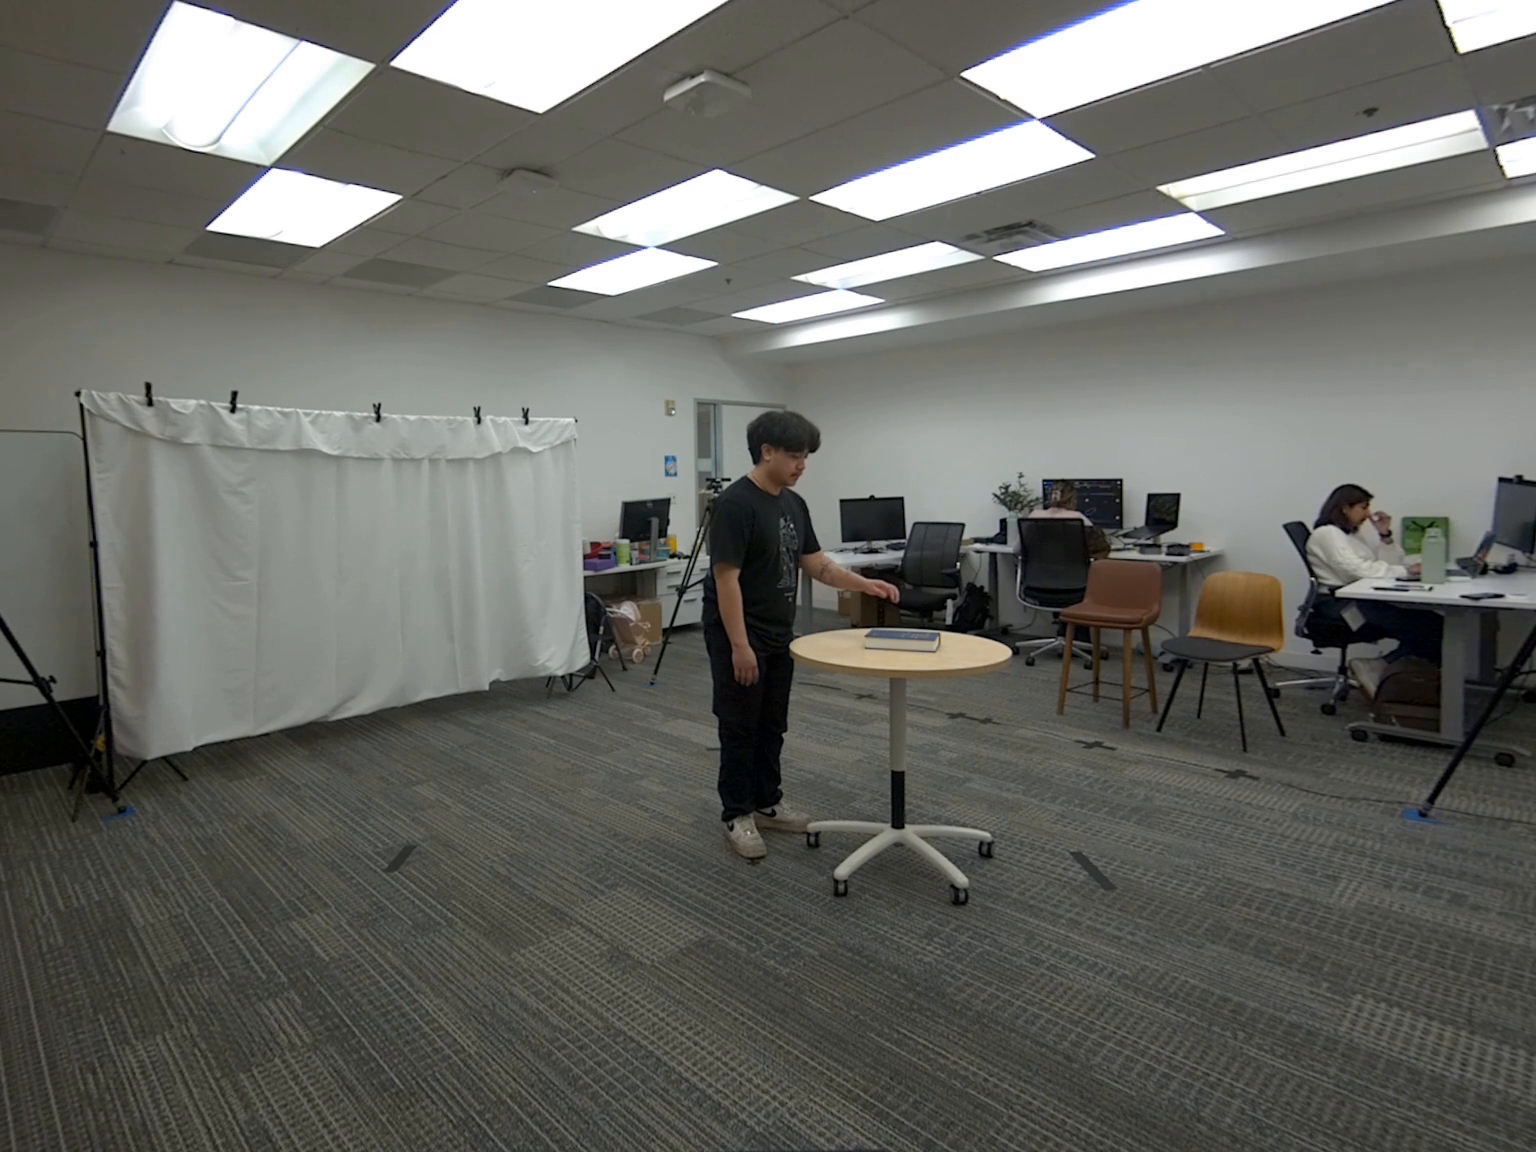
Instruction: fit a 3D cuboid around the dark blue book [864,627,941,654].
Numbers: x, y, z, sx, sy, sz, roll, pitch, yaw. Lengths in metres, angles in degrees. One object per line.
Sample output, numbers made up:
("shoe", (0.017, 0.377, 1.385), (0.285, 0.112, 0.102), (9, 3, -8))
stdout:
("dark blue book", (0.484, 0.229, 3.027), (0.250, 0.045, 0.161), (2, 7, 19))
